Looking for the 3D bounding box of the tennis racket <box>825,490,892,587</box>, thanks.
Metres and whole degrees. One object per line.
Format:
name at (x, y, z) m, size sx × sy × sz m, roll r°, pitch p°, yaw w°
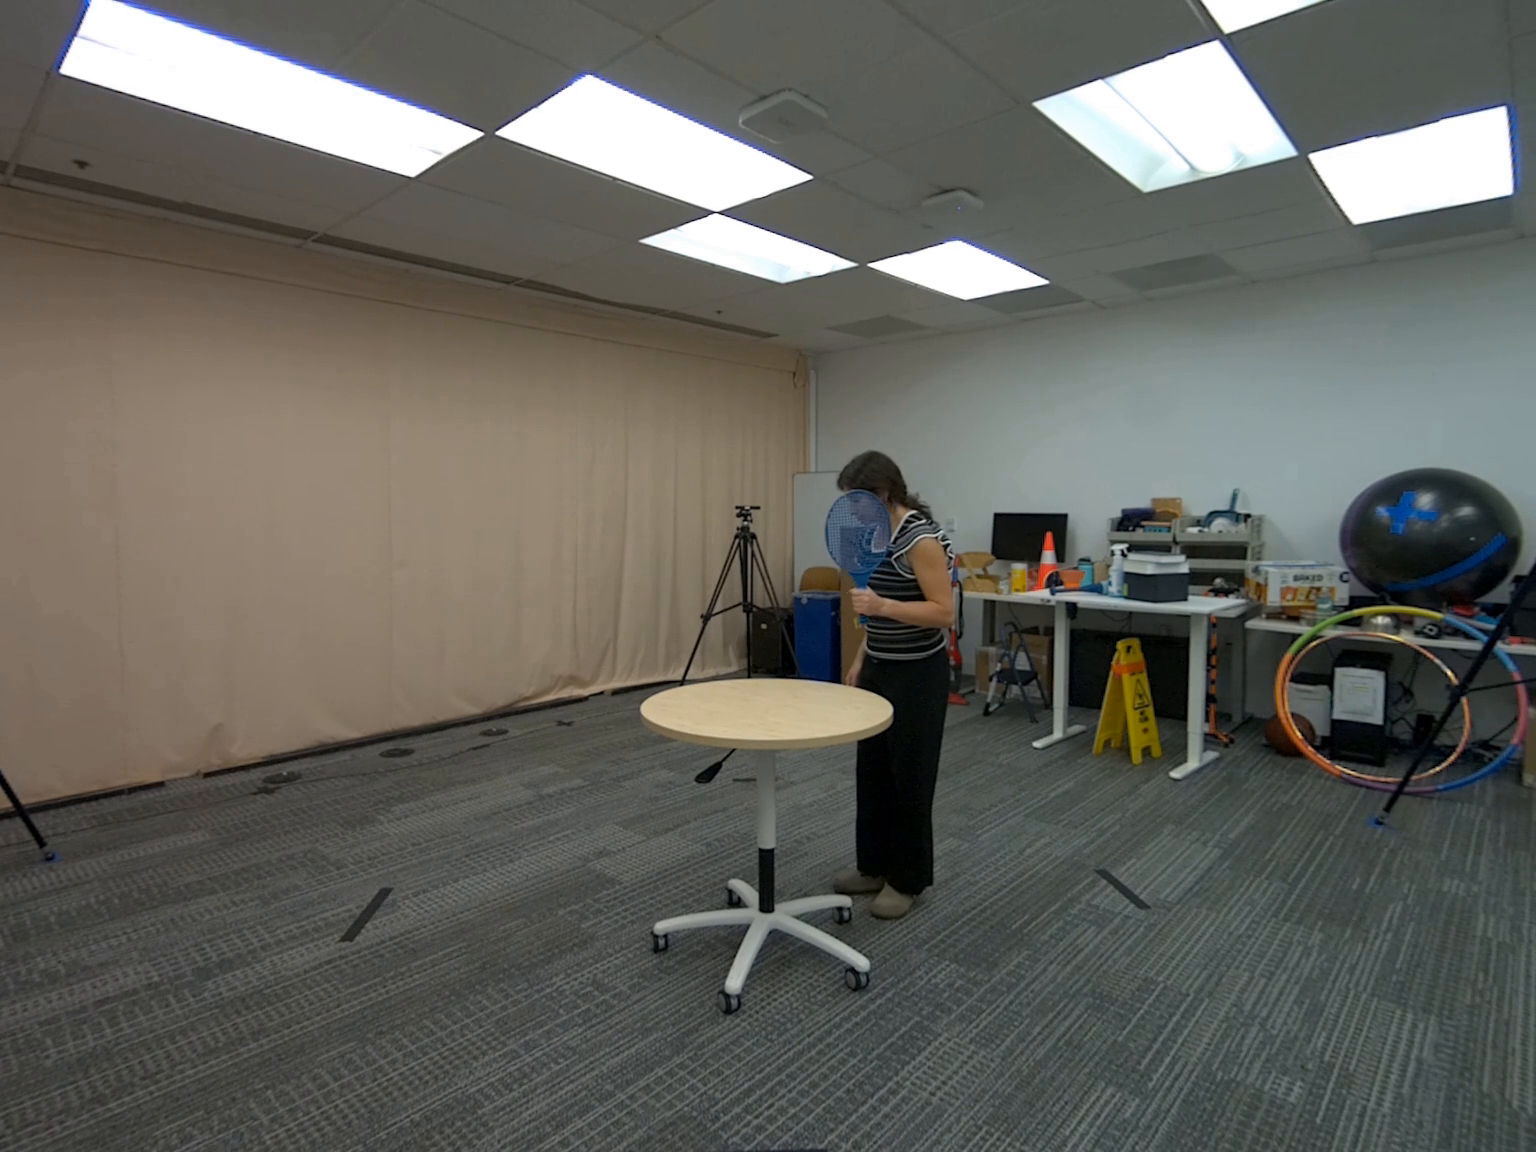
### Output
tennis racket at (0.302, -0.058, 2.680) m, size 0.211 × 0.429 × 0.032 m, roll -7°, pitch 10°, yaw -10°
